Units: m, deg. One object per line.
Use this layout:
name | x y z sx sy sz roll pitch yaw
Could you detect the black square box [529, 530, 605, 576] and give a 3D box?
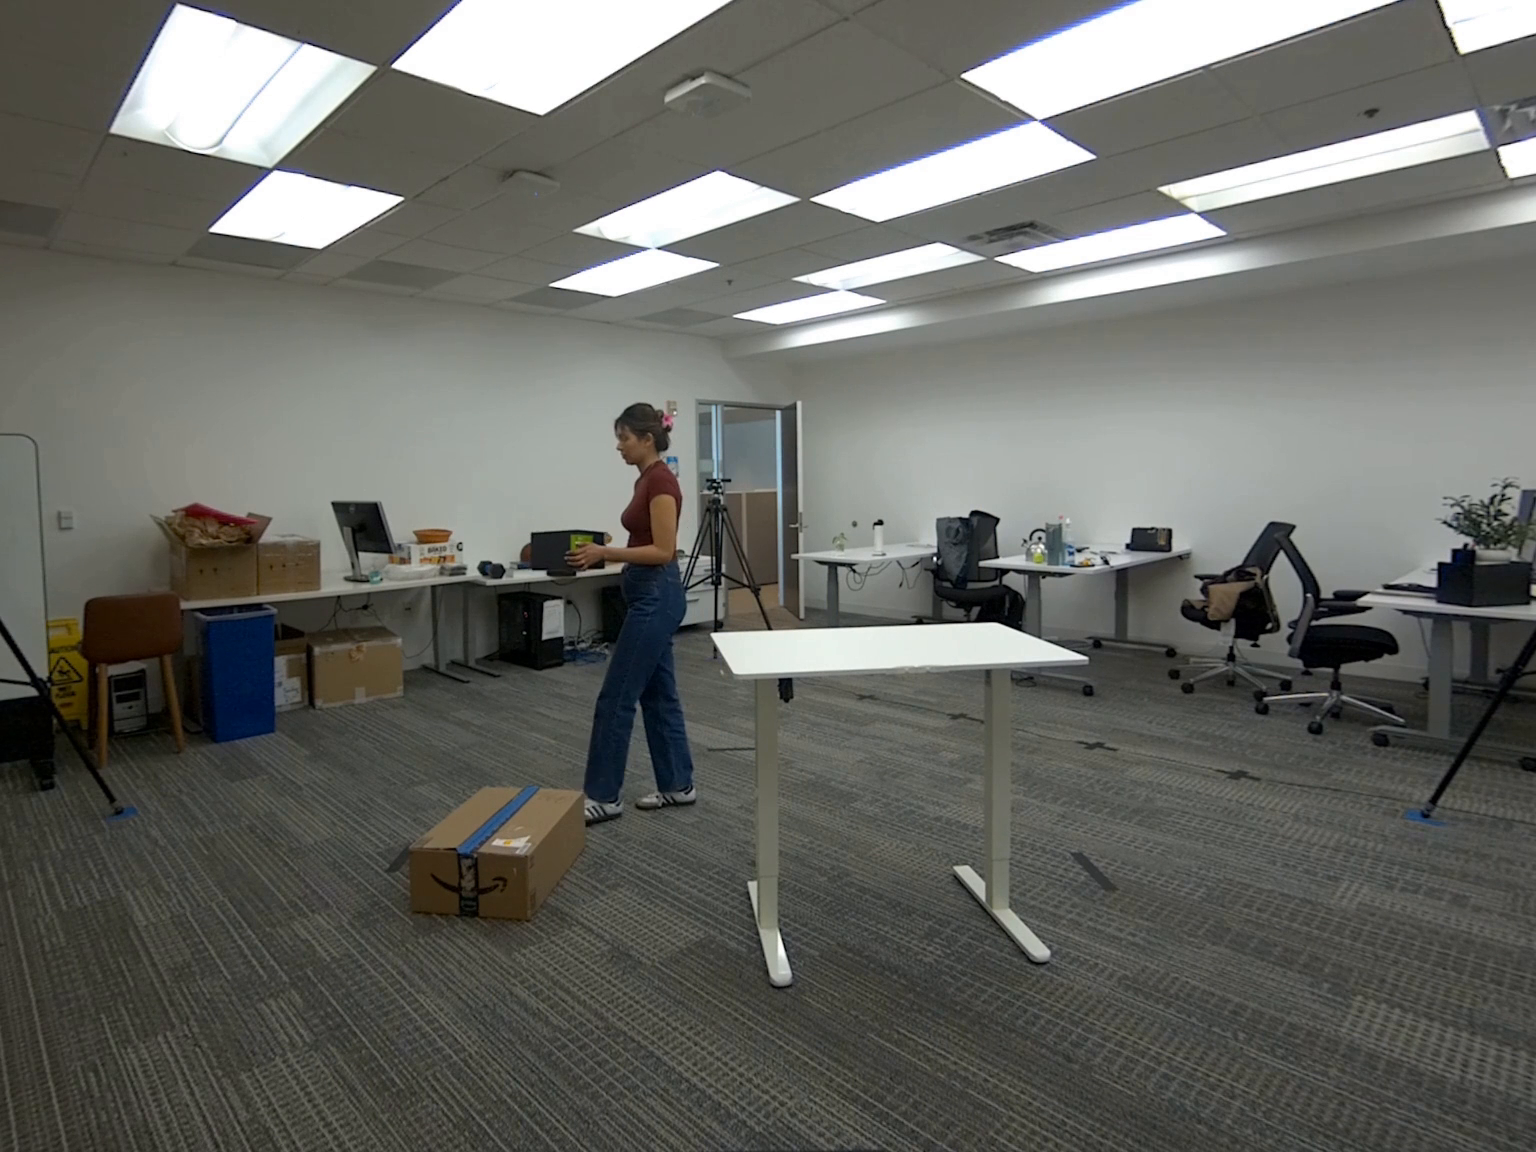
black square box | -0.826 -0.107 3.515 0.221 0.156 0.224 -2 -1 18
